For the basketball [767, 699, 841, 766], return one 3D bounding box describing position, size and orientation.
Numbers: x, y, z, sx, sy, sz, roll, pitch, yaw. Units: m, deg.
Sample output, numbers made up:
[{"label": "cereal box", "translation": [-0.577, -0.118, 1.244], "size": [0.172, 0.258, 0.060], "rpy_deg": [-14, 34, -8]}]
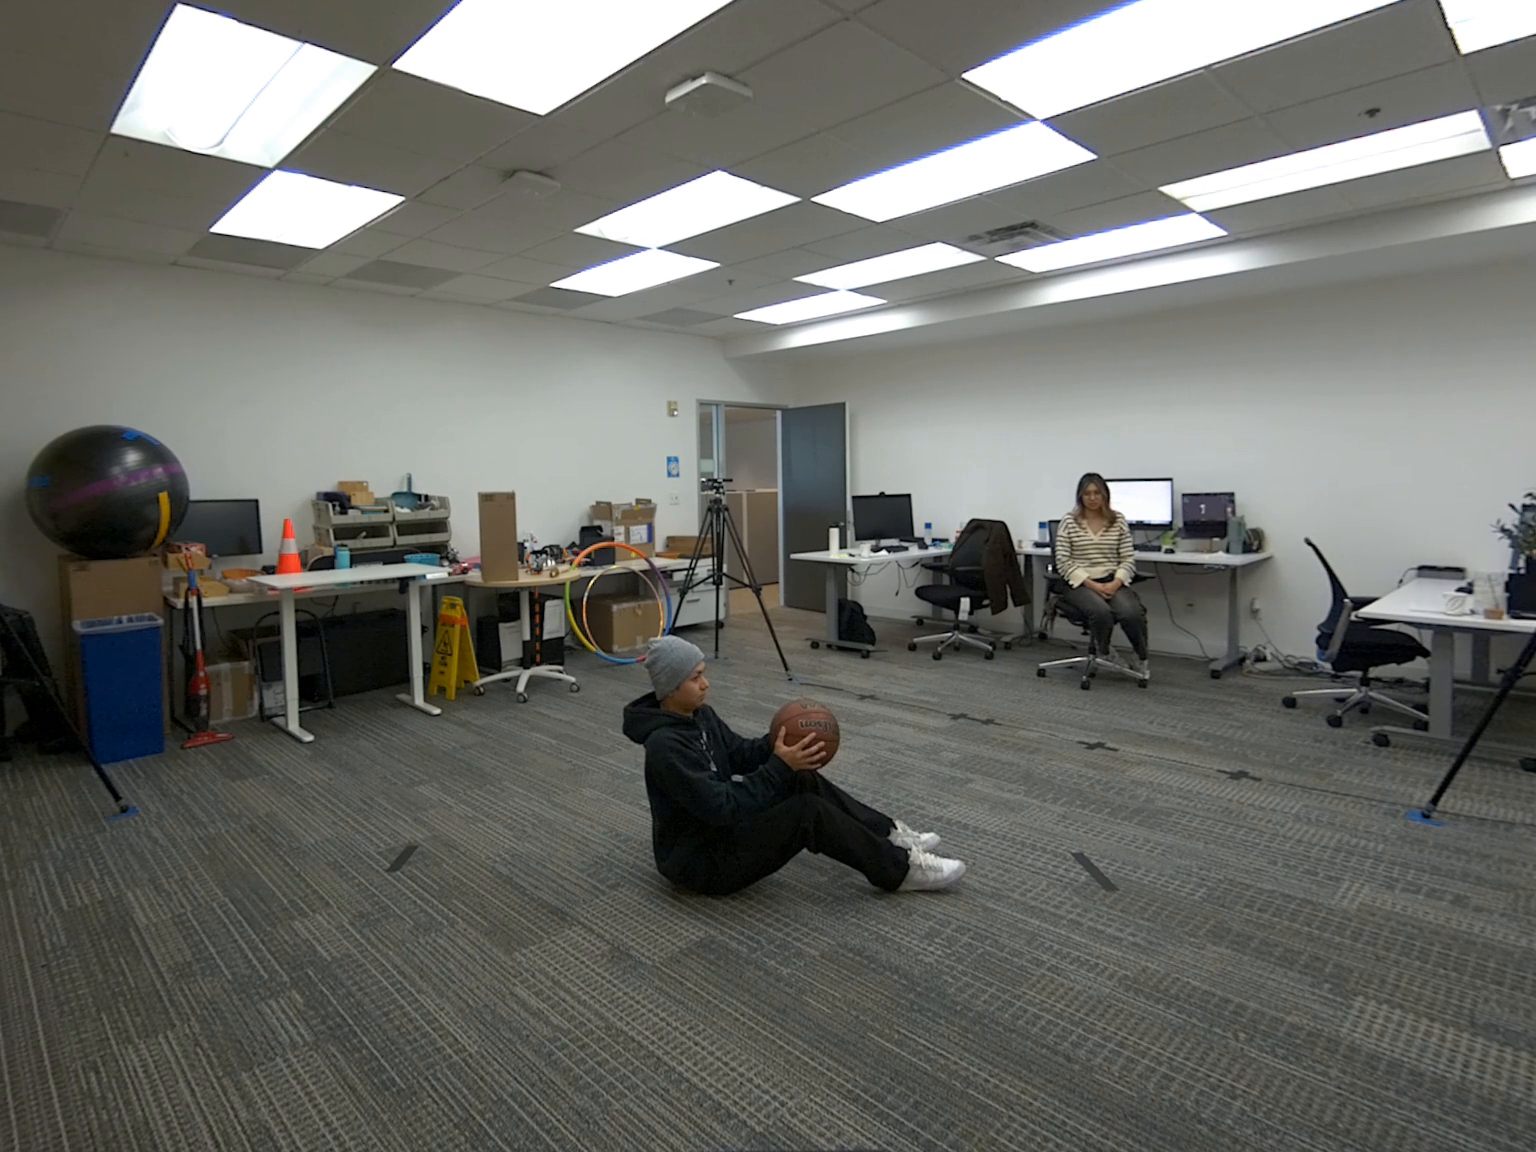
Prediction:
[{"label": "basketball", "translation": [0.121, 0.536, 2.875], "size": [0.236, 0.235, 0.237], "rpy_deg": [-1, 5, -2]}]
